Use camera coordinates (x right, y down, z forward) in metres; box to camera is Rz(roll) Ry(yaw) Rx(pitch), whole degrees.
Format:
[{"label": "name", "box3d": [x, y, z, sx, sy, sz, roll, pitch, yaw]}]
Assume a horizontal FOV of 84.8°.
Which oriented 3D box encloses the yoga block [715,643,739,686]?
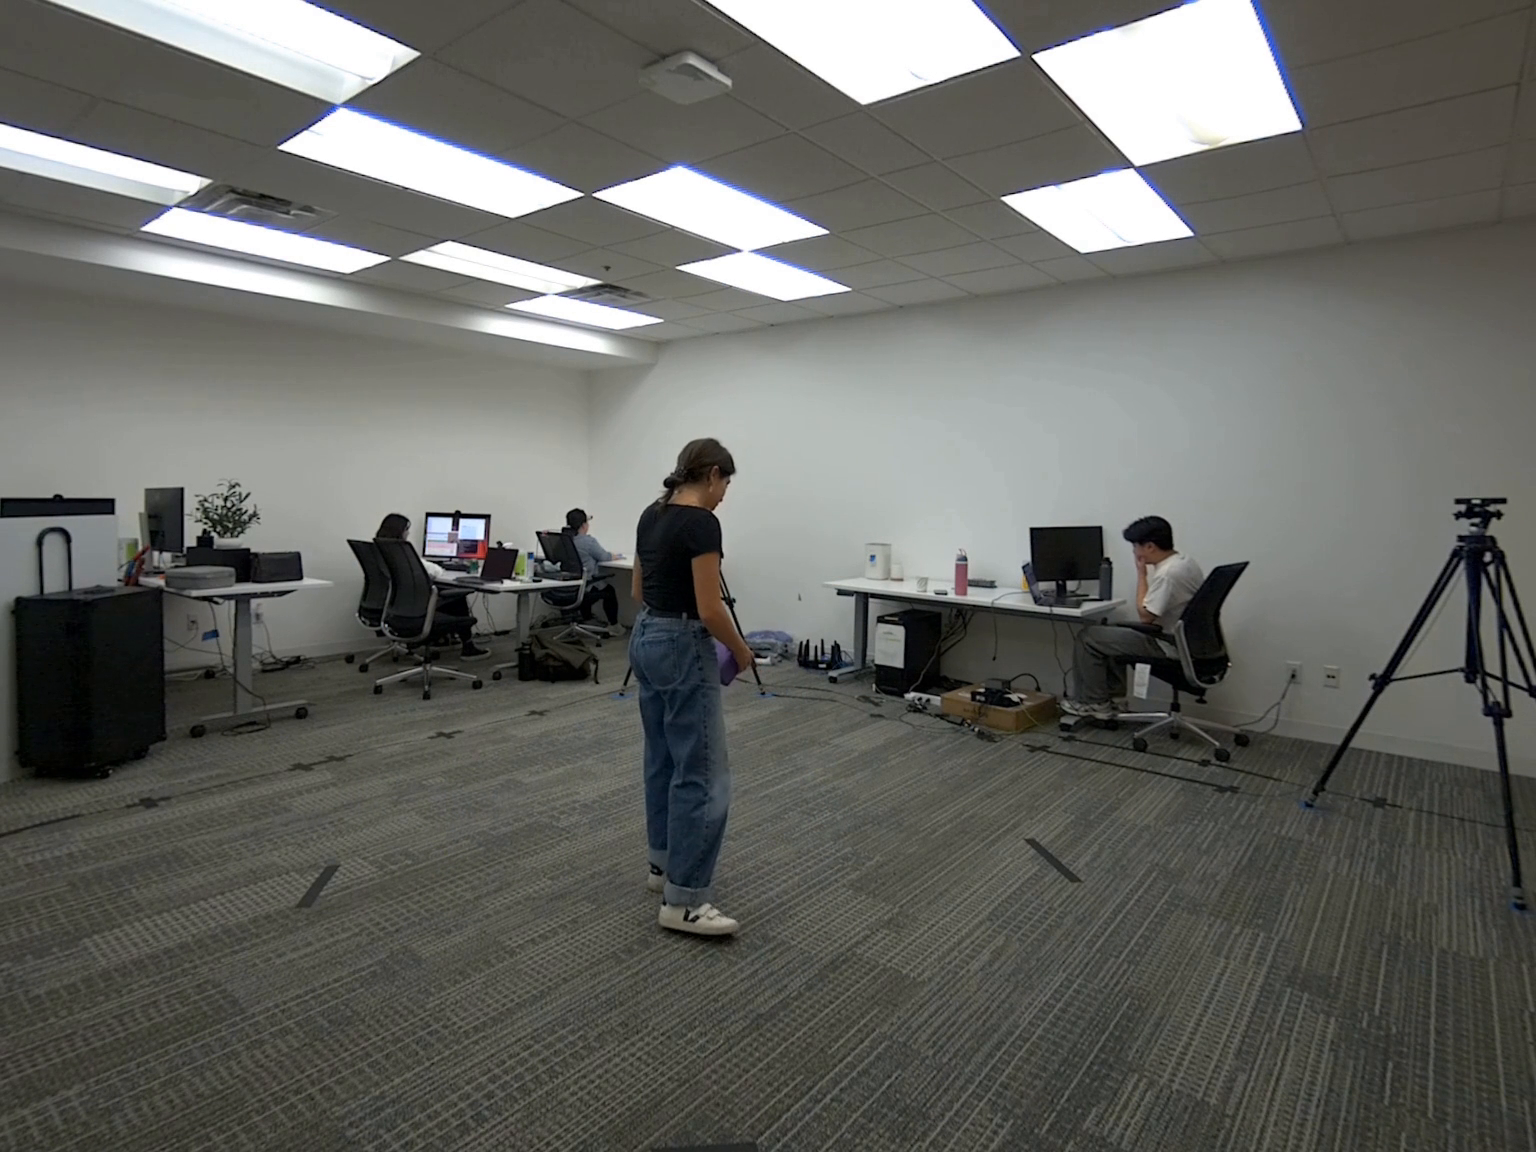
[{"label": "yoga block", "box3d": [-0.171, 0.287, 2.994, 0.074, 0.149, 0.237, 48, -20, -27]}]
